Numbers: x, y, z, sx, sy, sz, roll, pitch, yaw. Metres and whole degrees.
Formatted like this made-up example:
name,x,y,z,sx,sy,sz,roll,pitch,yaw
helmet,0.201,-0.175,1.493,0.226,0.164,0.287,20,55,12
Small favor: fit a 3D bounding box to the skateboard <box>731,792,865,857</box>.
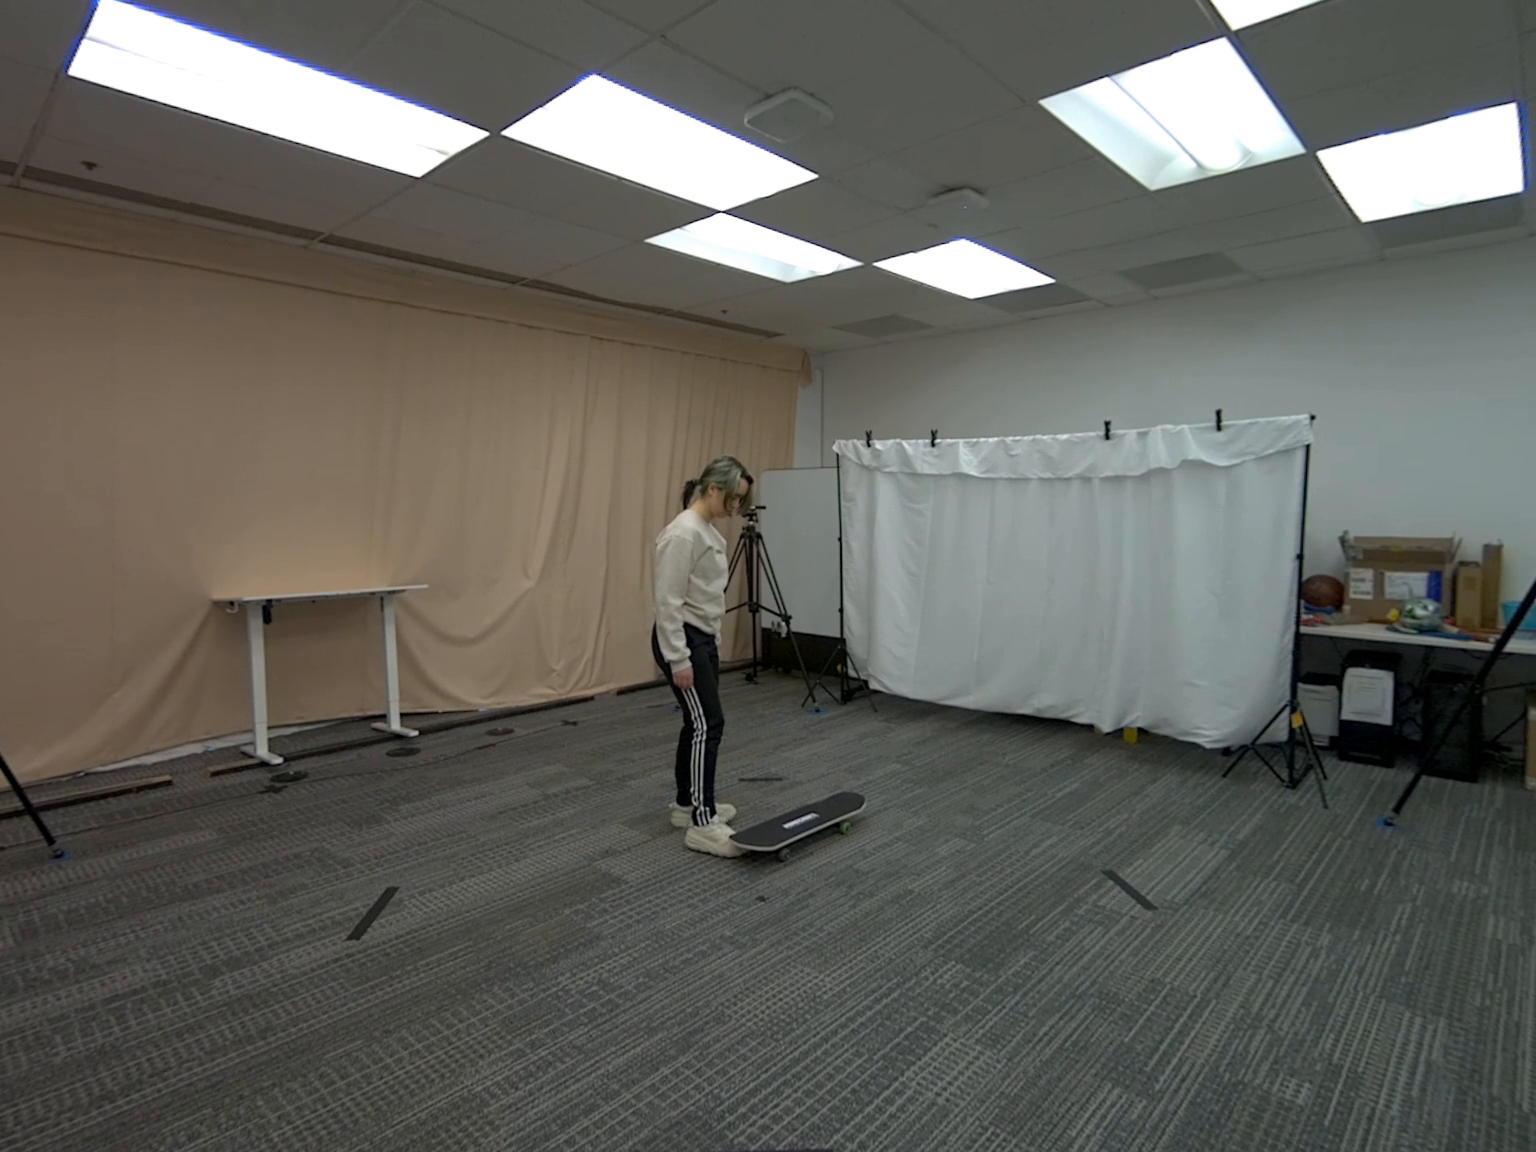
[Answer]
name,x,y,z,sx,sy,sz,roll,pitch,yaw
skateboard,0.139,1.045,3.486,0.200,0.110,0.761,5,7,43
